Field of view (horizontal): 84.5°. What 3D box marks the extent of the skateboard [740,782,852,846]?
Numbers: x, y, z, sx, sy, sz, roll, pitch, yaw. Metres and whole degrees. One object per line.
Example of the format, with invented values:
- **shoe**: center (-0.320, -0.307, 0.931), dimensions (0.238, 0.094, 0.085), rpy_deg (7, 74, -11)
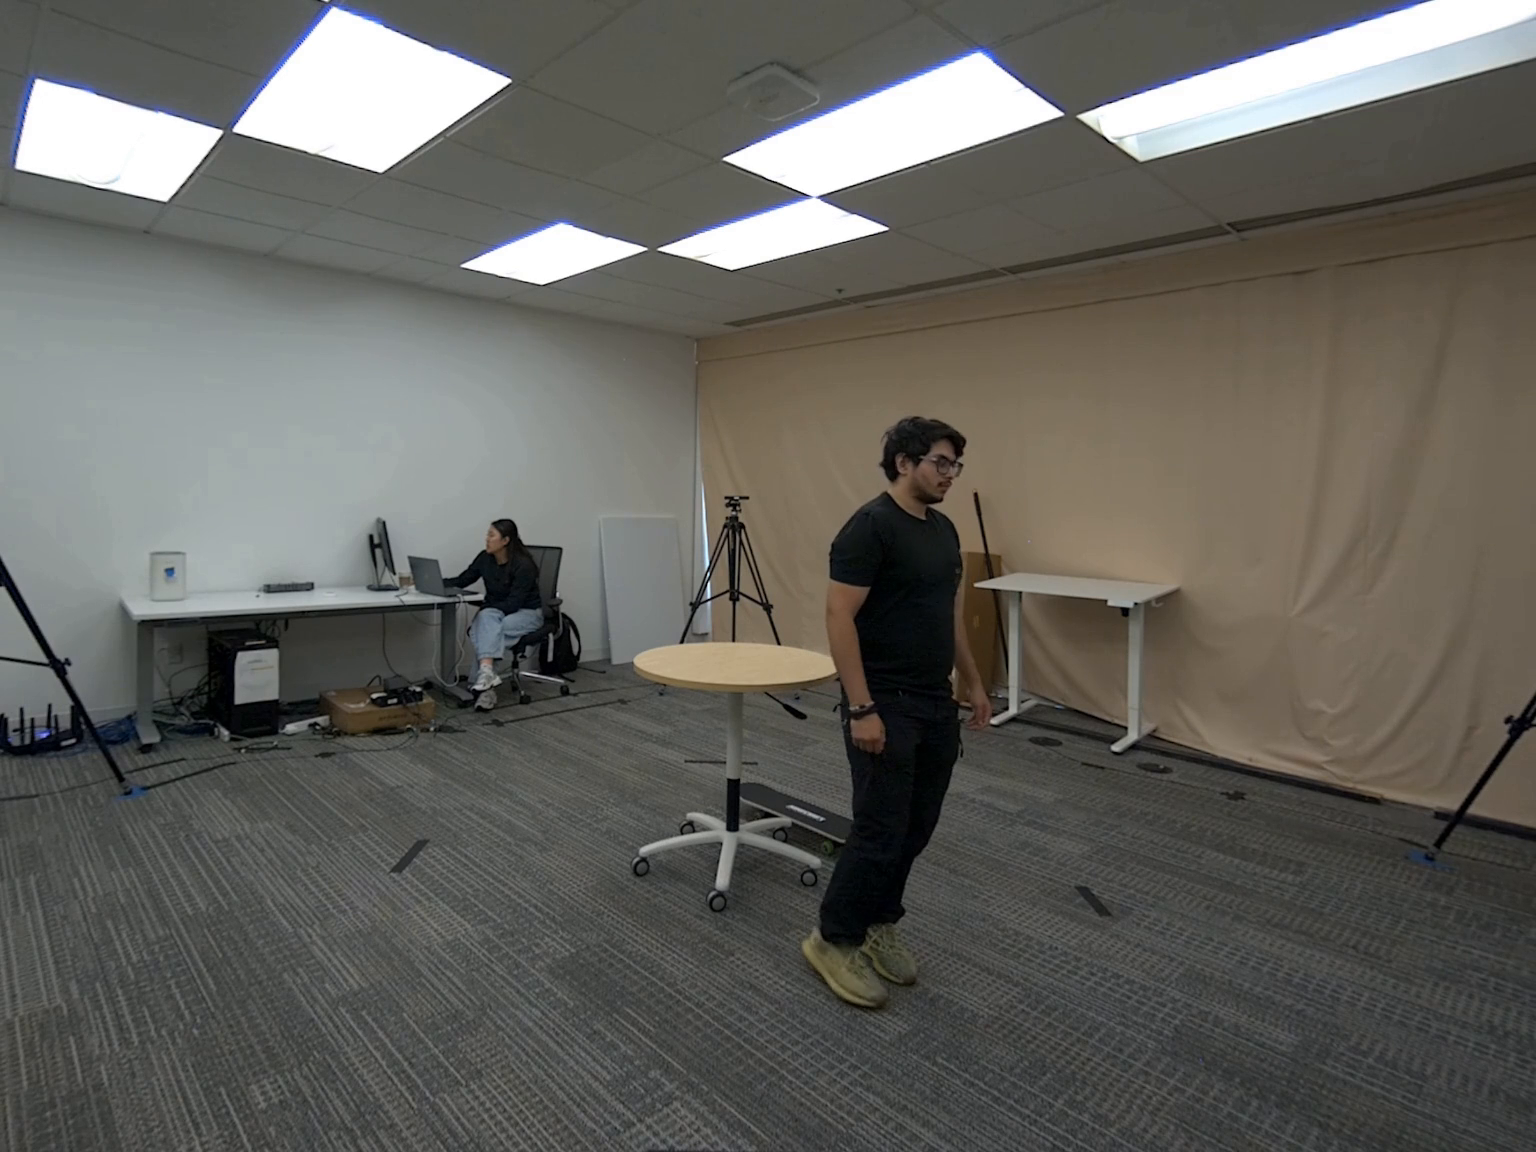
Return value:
- **skateboard**: center (0.151, 1.022, 3.514), dimensions (0.189, 0.110, 0.806), rpy_deg (-2, 6, -42)
